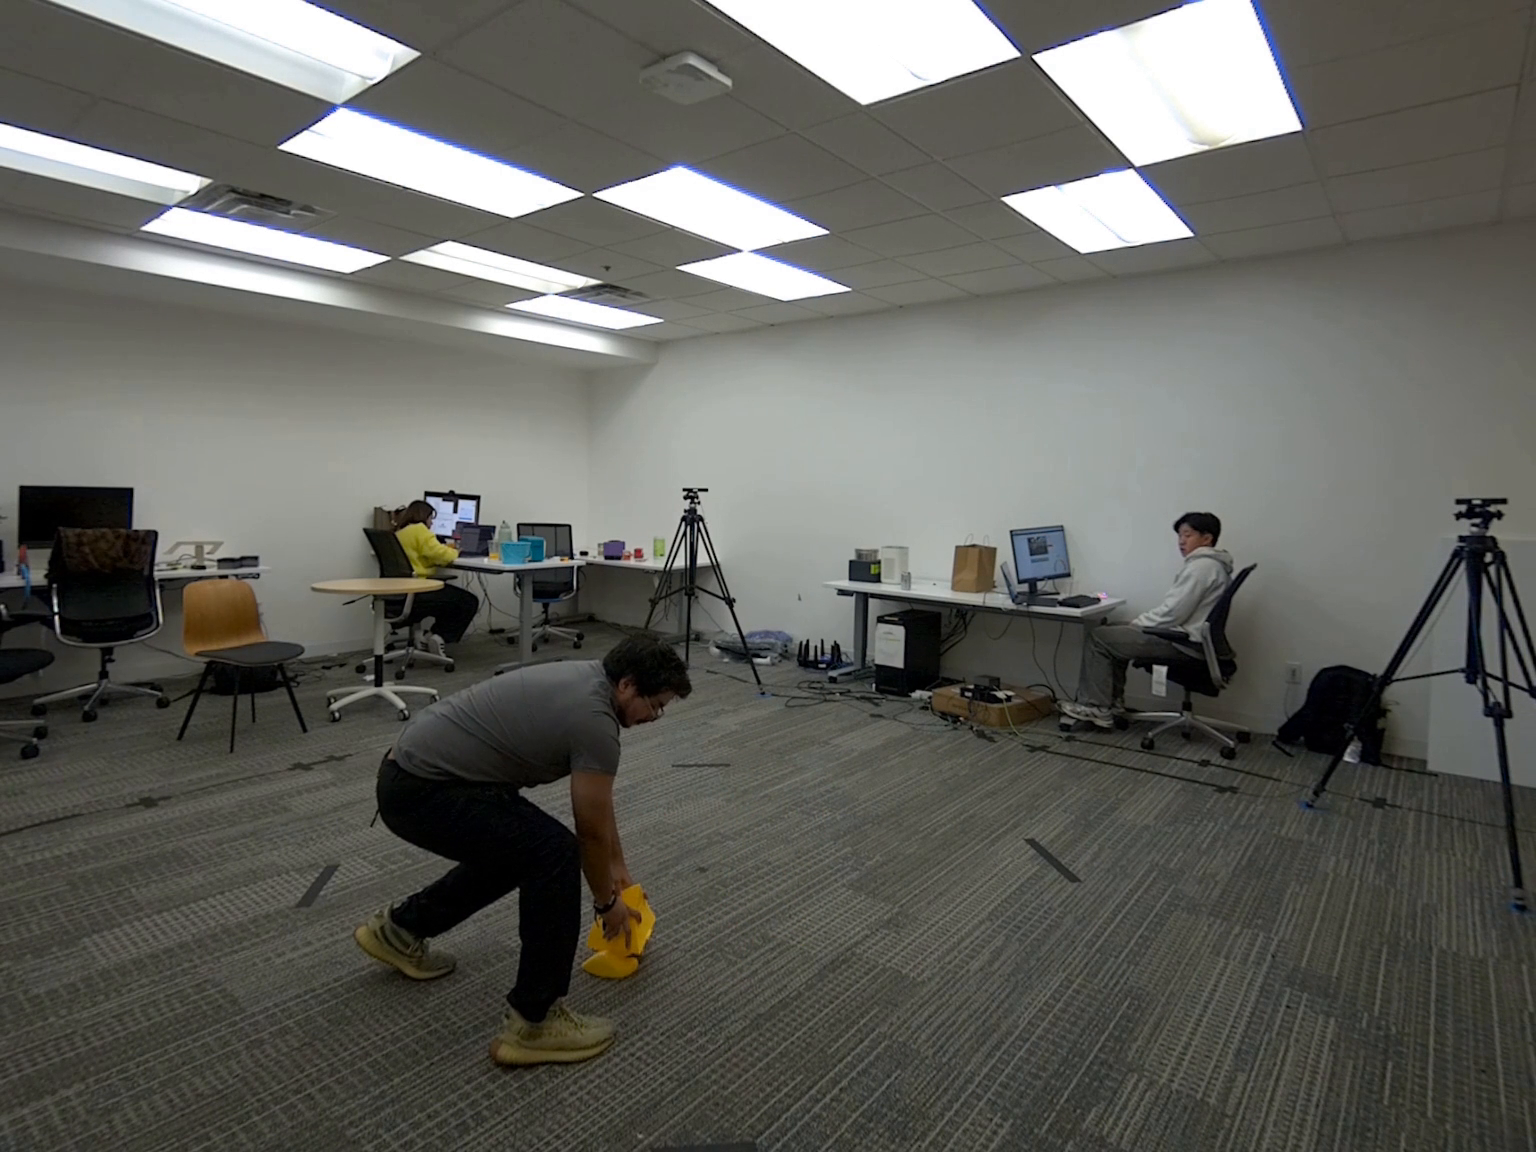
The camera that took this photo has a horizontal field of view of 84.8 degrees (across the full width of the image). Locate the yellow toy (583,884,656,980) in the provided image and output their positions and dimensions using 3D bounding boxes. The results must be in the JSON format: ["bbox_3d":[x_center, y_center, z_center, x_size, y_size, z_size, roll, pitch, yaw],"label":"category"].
[{"bbox_3d":[-0.447,1.014,2.501,0.195,0.230,0.204,3,5,6],"label":"yellow toy"}]
